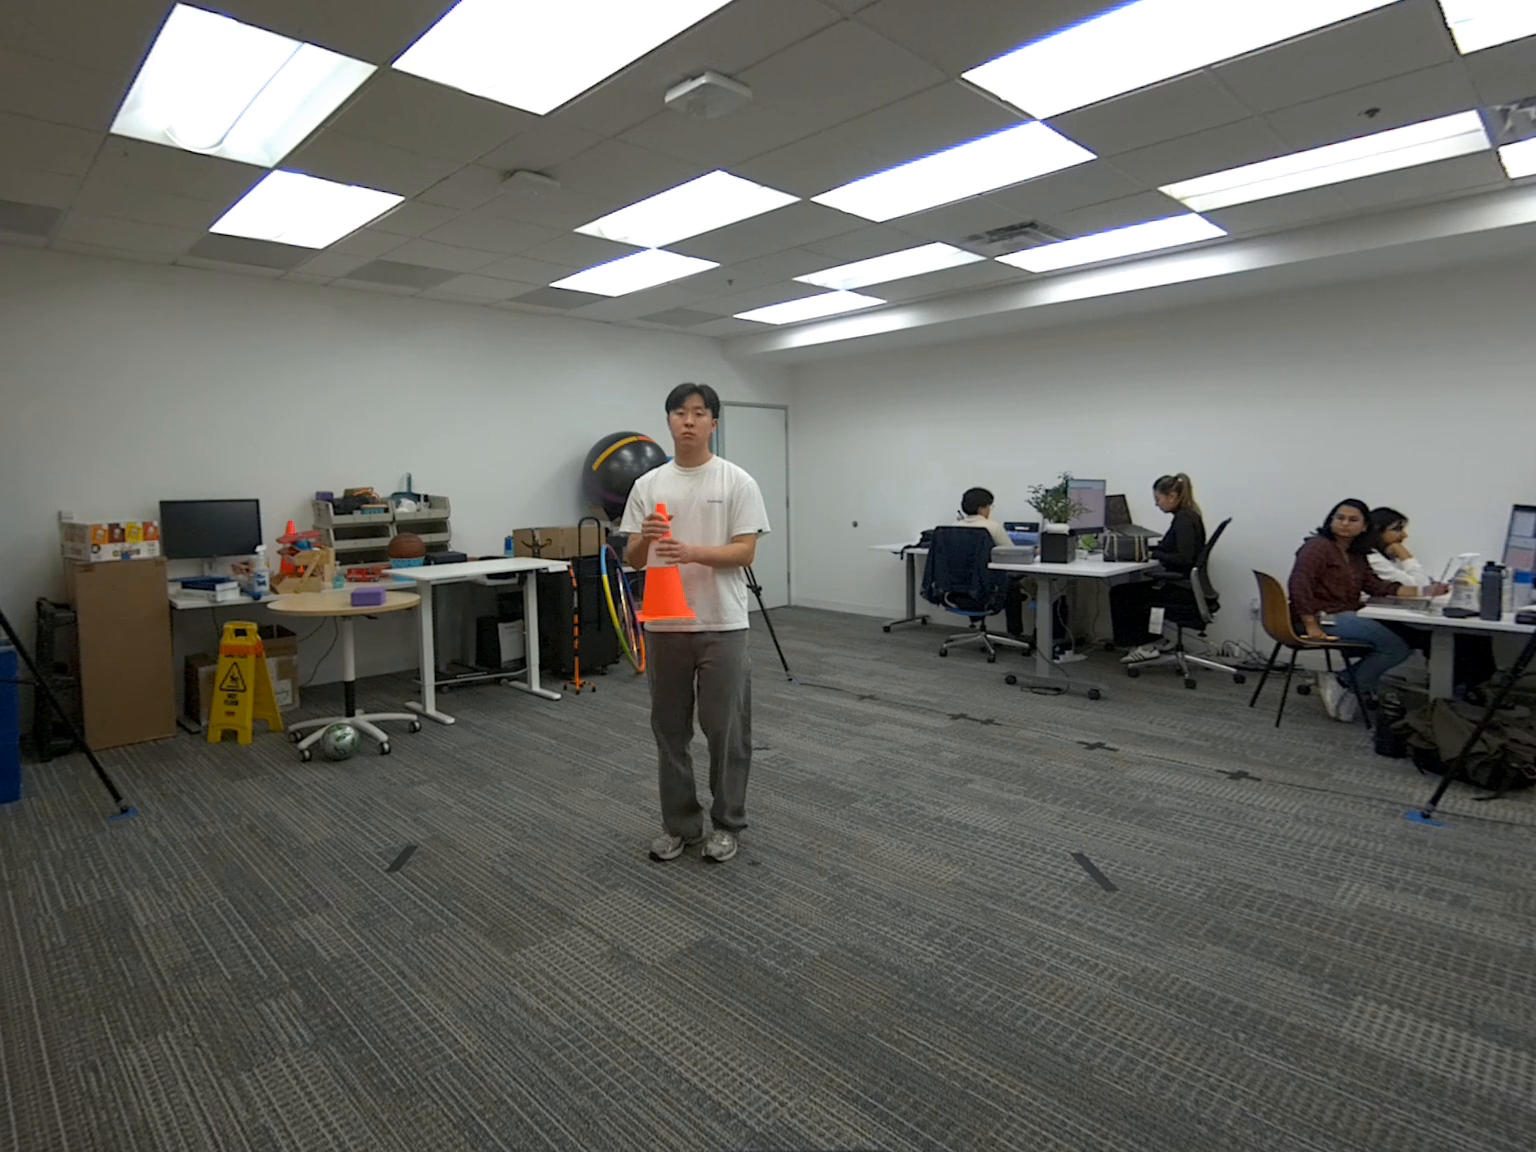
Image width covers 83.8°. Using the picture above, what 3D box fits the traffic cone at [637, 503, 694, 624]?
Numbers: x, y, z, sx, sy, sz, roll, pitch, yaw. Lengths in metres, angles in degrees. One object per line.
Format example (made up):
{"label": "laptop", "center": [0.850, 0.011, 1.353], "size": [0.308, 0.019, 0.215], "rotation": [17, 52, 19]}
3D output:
{"label": "traffic cone", "center": [-0.362, -0.053, 2.933], "size": [0.207, 0.382, 0.202], "rotation": [-3, 4, 9]}
